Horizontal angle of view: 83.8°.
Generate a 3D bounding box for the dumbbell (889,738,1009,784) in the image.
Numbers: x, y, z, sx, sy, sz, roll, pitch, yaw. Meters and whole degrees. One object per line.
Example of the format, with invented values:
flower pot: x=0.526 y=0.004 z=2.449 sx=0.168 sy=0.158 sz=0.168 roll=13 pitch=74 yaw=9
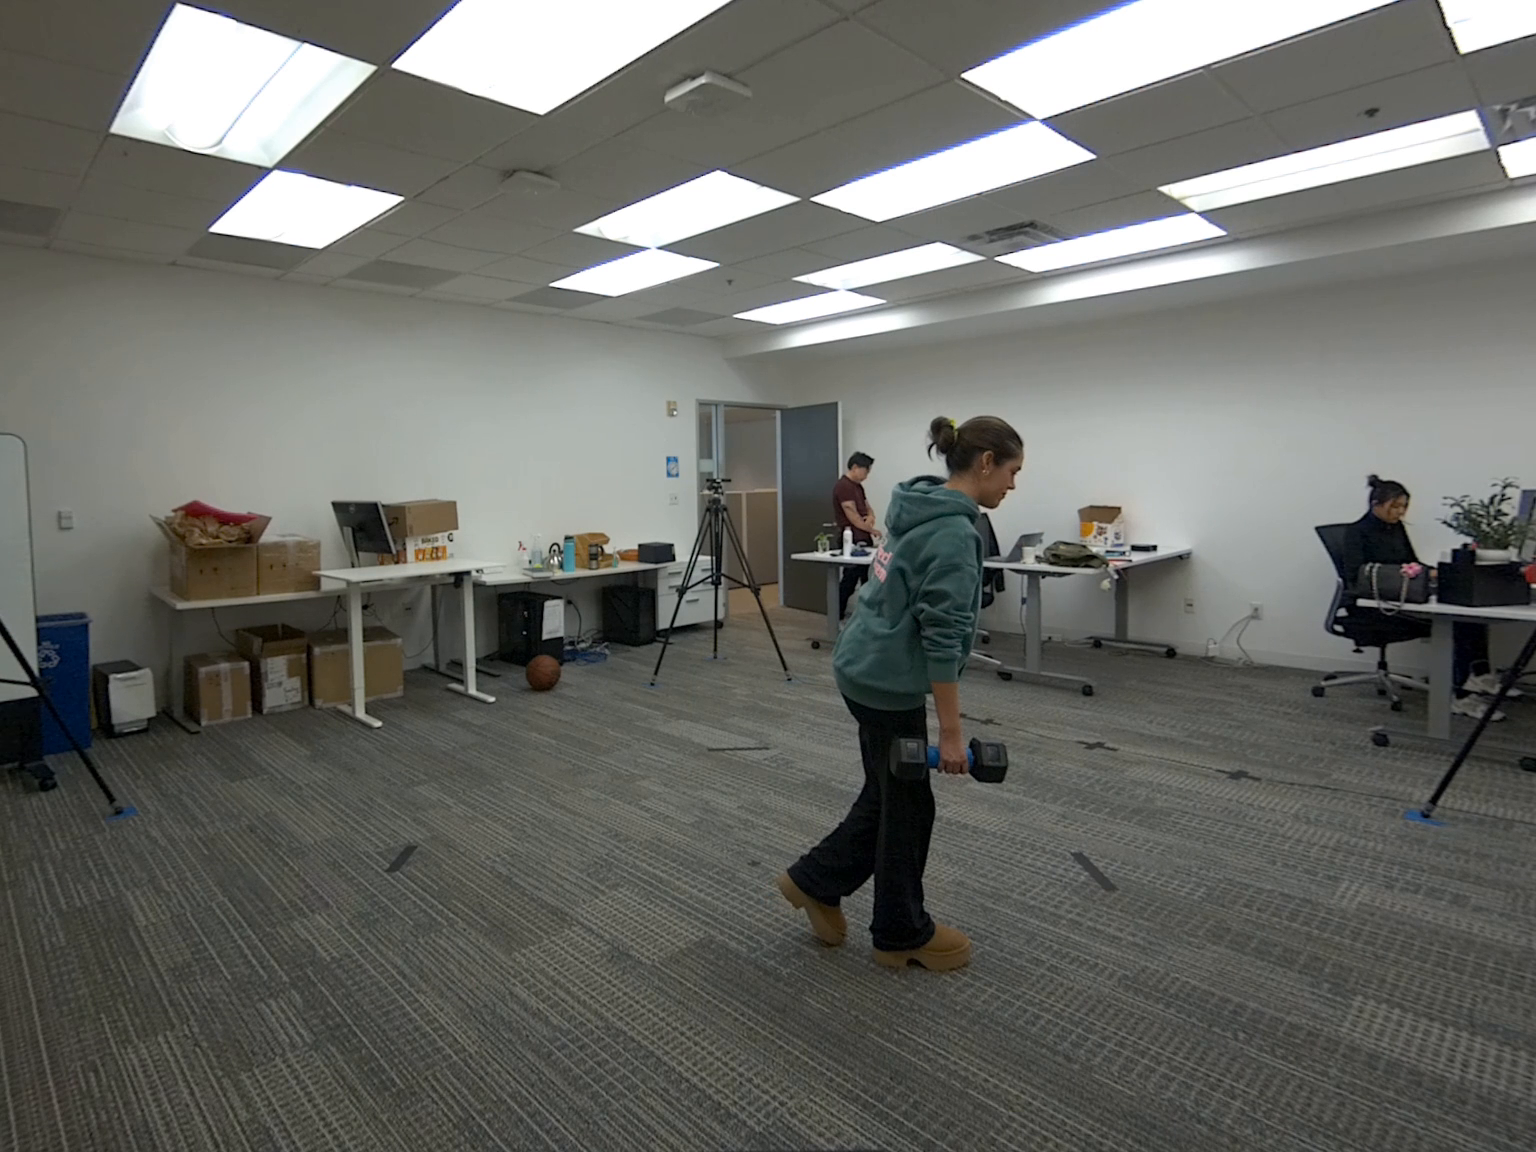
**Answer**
dumbbell: x=0.479 y=0.480 z=2.266 sx=0.293 sy=0.120 sz=0.111 roll=1 pitch=30 yaw=-2
